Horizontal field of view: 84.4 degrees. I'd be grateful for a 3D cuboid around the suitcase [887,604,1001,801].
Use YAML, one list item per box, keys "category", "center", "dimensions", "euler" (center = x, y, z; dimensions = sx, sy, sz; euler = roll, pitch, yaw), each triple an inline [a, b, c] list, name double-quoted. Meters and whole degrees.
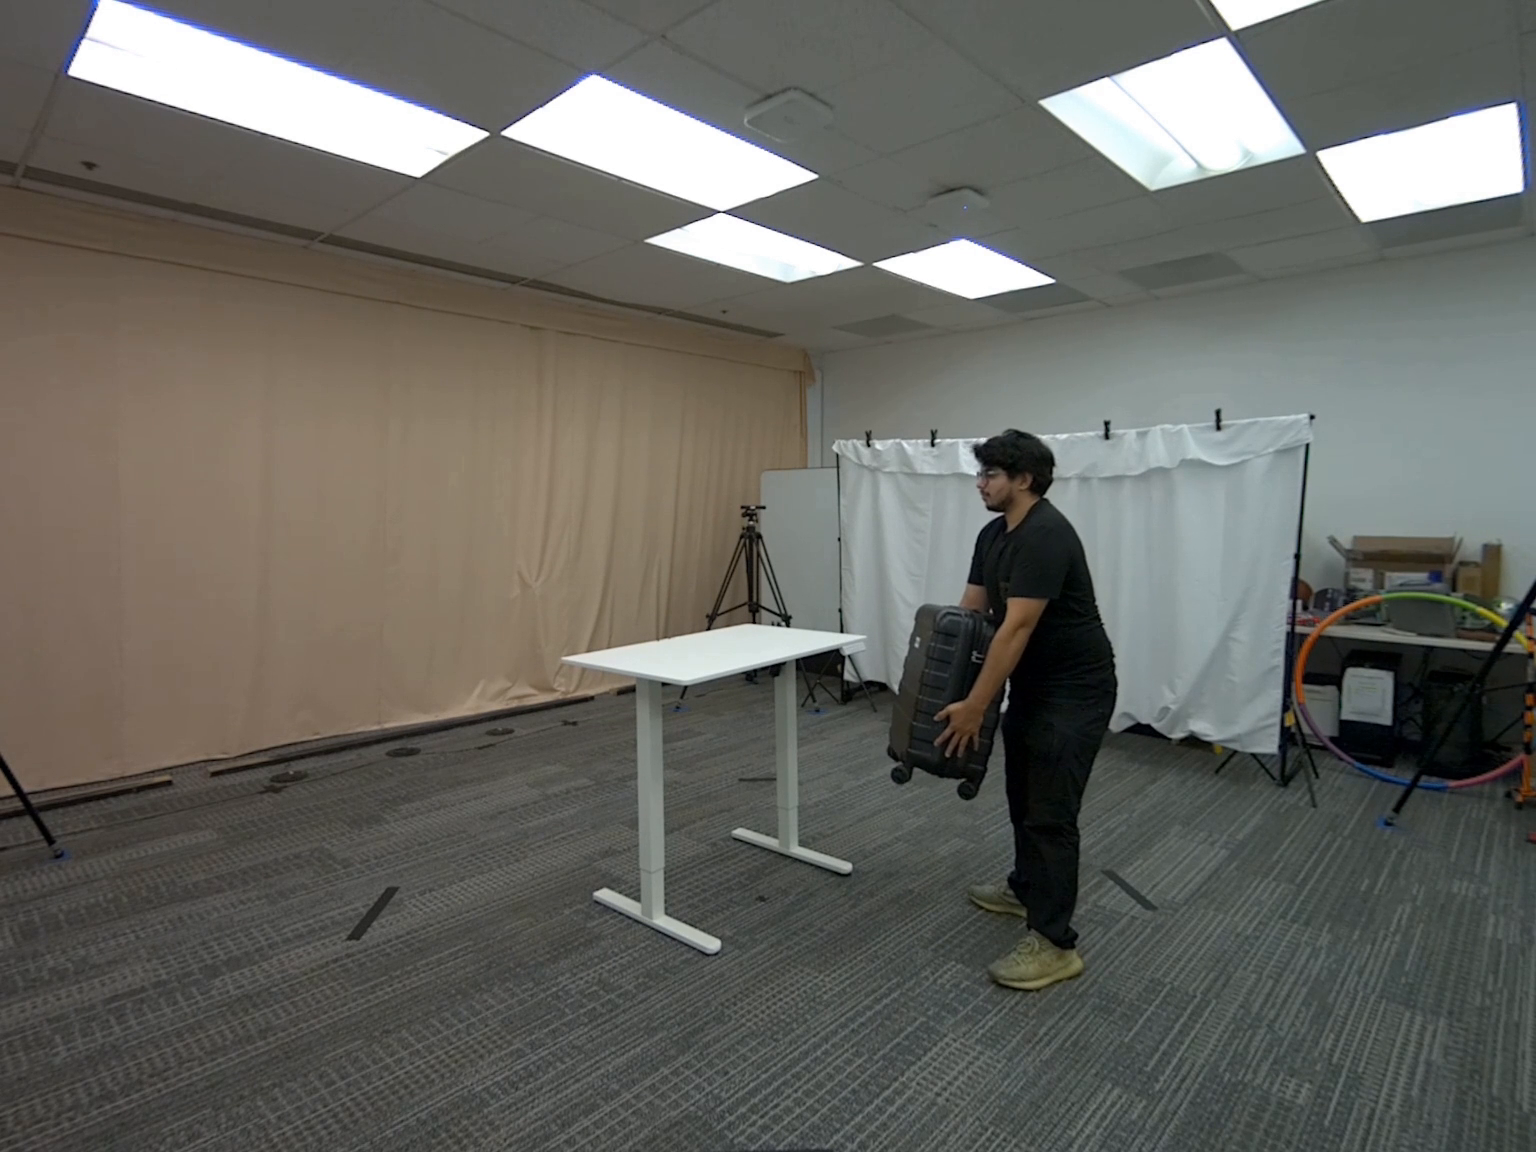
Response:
- category: "suitcase"
  center: [0.579, 0.368, 2.631]
  dimensions: [0.249, 0.549, 0.375]
  euler: [12, 3, 0]
